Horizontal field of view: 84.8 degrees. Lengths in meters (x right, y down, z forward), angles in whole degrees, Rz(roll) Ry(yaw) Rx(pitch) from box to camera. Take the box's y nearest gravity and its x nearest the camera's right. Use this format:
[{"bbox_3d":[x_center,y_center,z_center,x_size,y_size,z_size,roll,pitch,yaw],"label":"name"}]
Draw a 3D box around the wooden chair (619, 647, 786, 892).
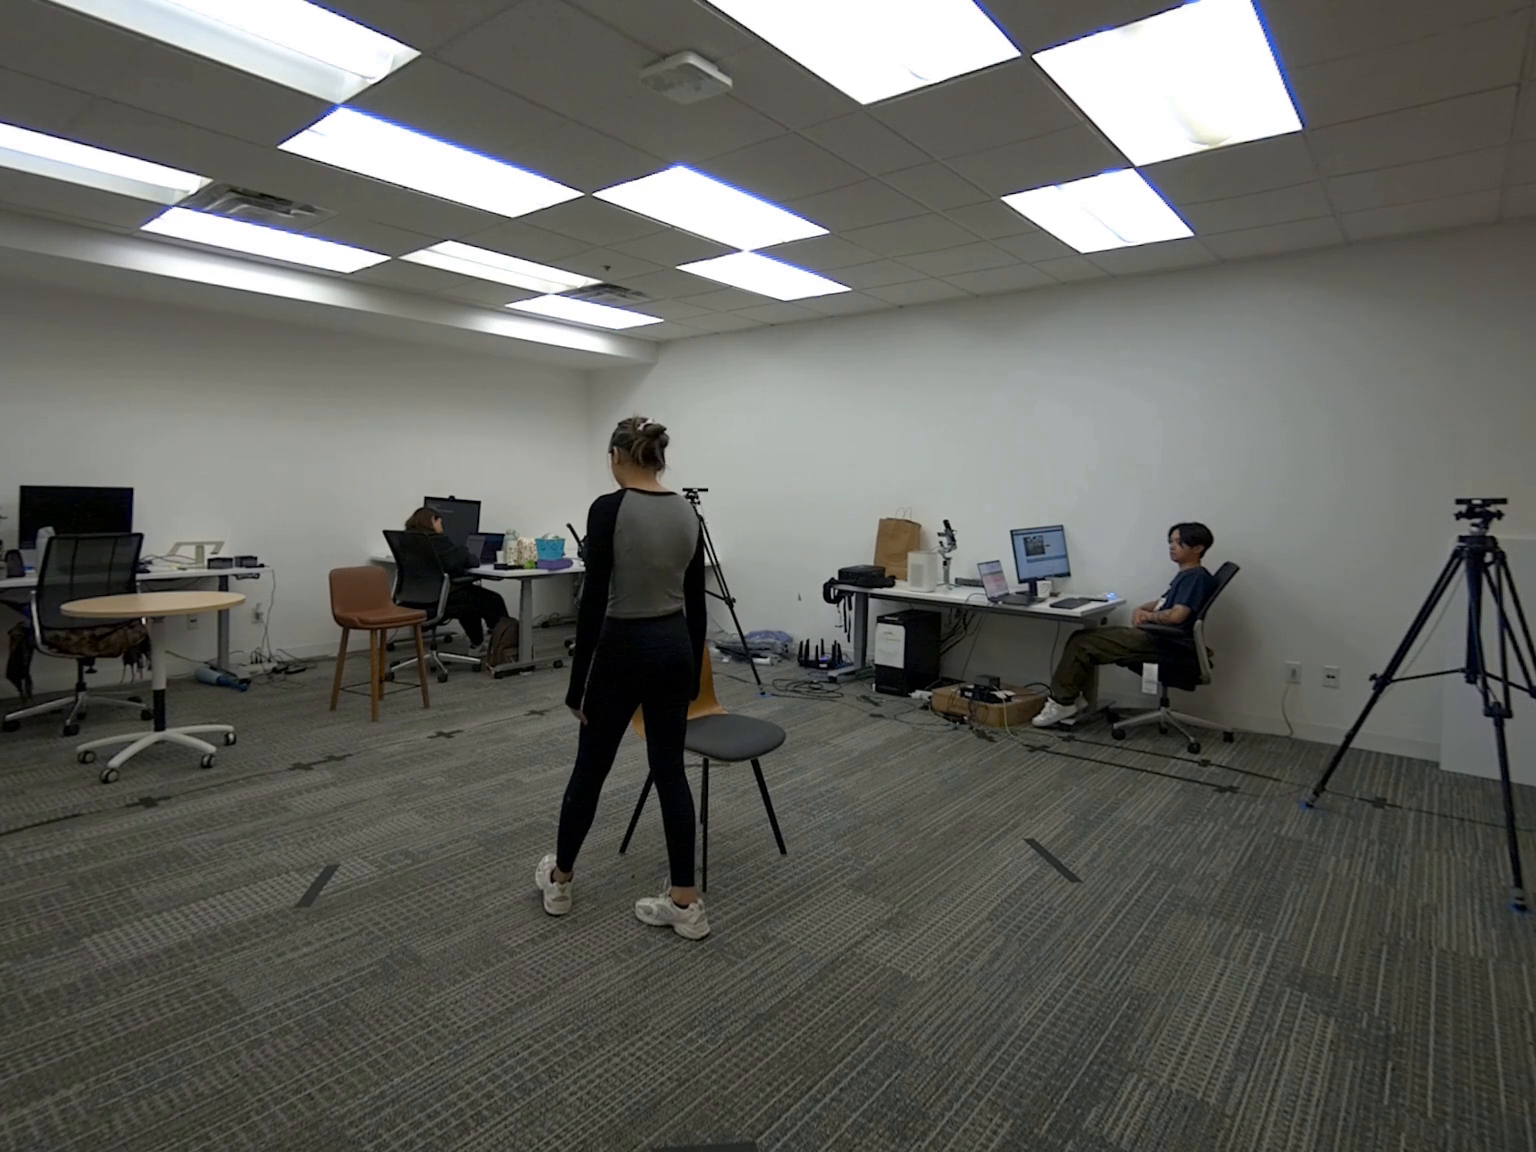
[{"bbox_3d":[-0.237,0.631,3.212,0.539,0.878,0.463,-2,0,41],"label":"wooden chair"}]
